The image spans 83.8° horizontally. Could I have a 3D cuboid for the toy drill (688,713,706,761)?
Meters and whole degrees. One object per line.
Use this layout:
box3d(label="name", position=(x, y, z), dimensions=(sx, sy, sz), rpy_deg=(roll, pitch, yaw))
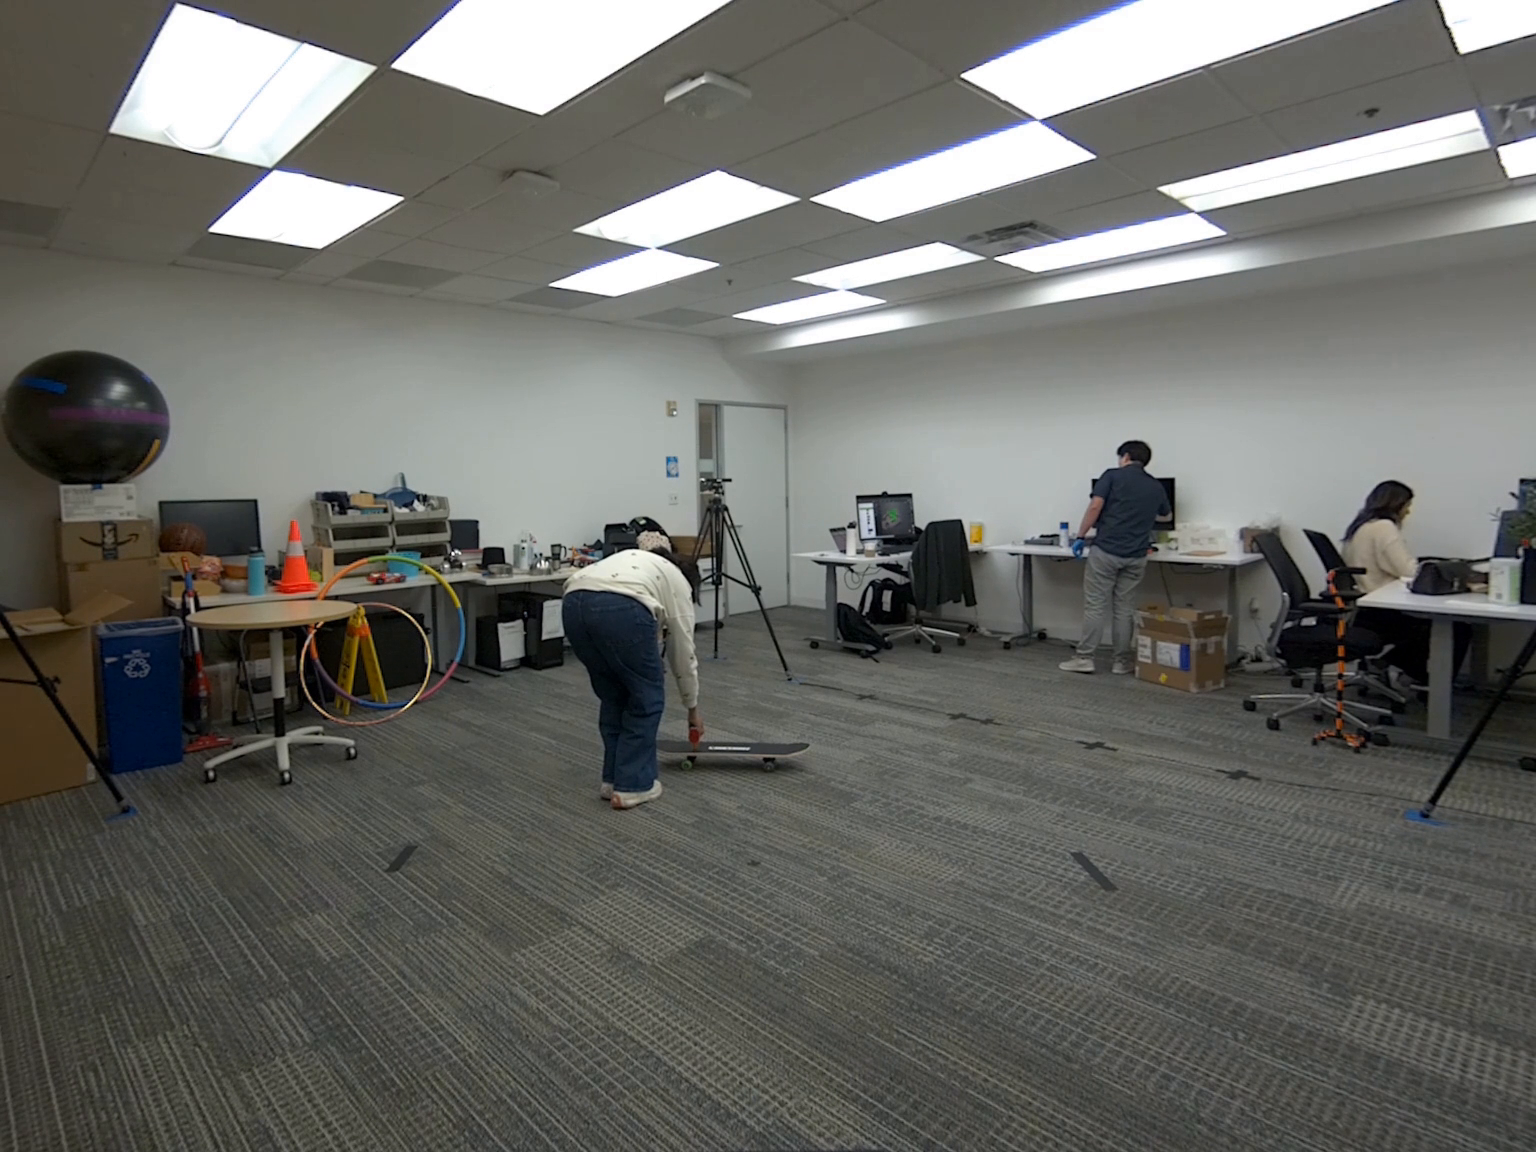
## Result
box3d(label="toy drill", position=(-0.345, 0.771, 4.128), dimensions=(0.061, 0.167, 0.148), rpy_deg=(-3, 14, 0))
